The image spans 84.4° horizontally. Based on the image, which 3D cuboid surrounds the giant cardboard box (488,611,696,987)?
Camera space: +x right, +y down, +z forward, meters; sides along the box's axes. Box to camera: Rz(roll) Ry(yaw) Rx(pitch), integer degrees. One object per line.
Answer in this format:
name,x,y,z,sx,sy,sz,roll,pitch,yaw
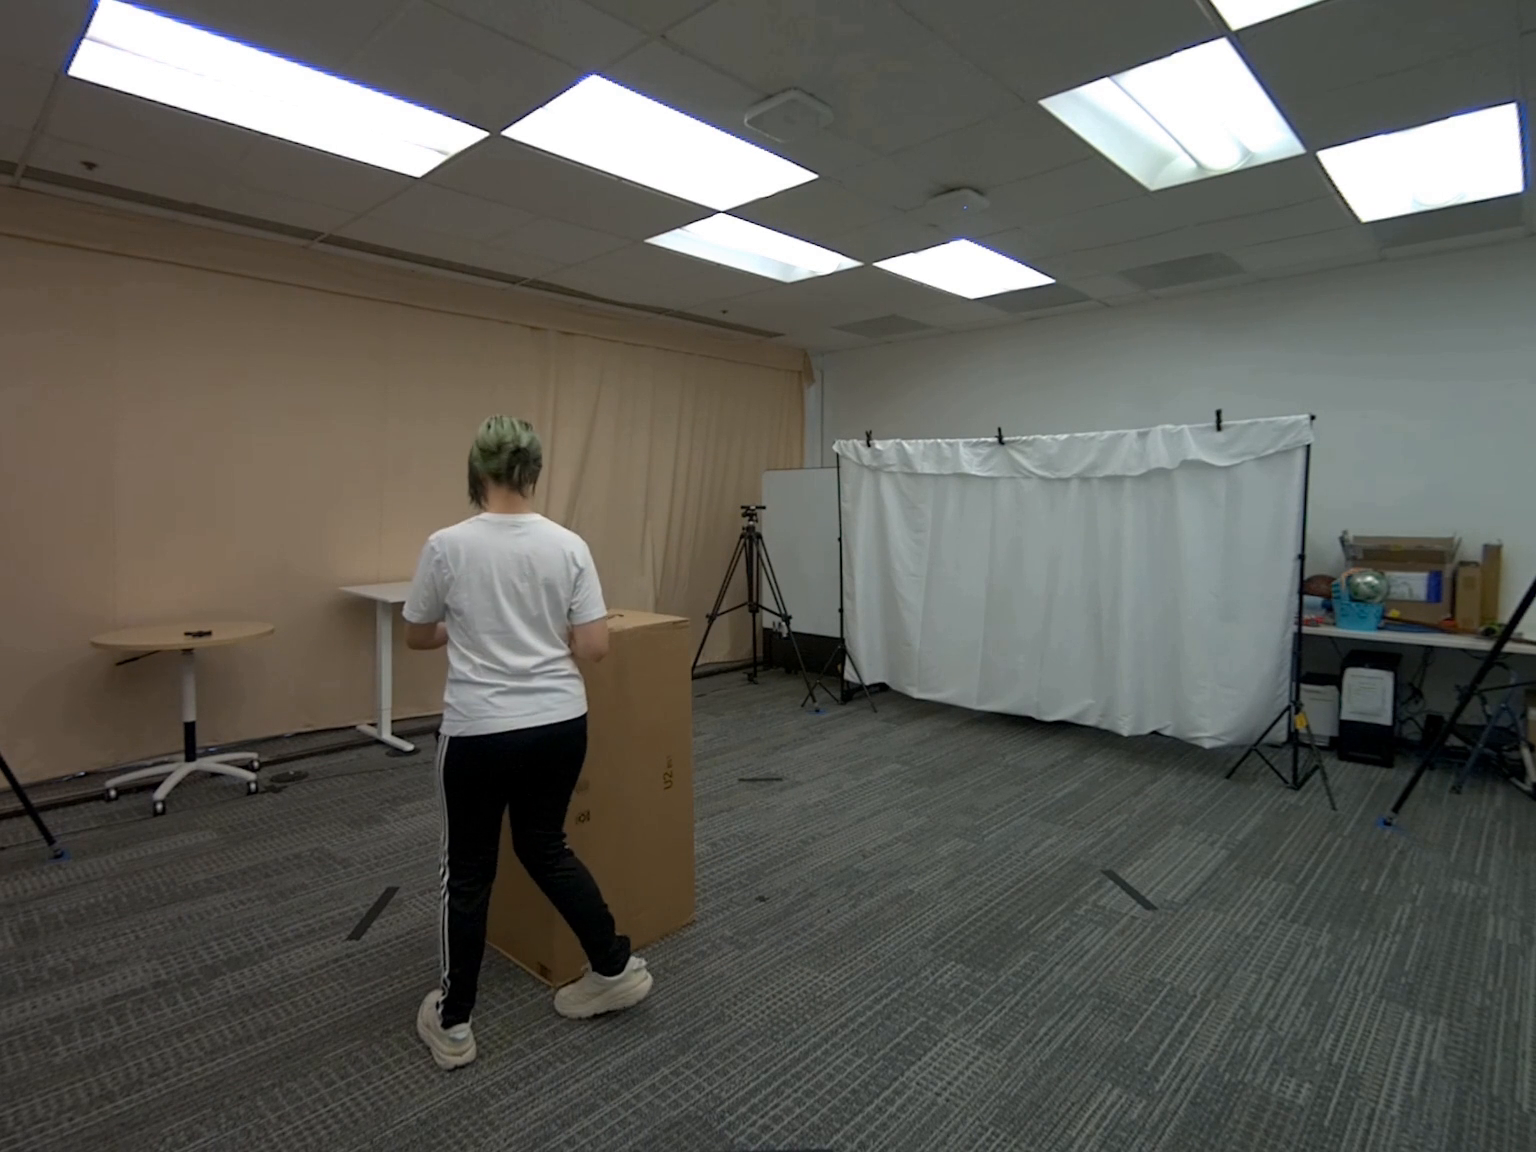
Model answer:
giant cardboard box,-0.593,0.662,2.752,0.462,1.025,0.566,3,5,42
